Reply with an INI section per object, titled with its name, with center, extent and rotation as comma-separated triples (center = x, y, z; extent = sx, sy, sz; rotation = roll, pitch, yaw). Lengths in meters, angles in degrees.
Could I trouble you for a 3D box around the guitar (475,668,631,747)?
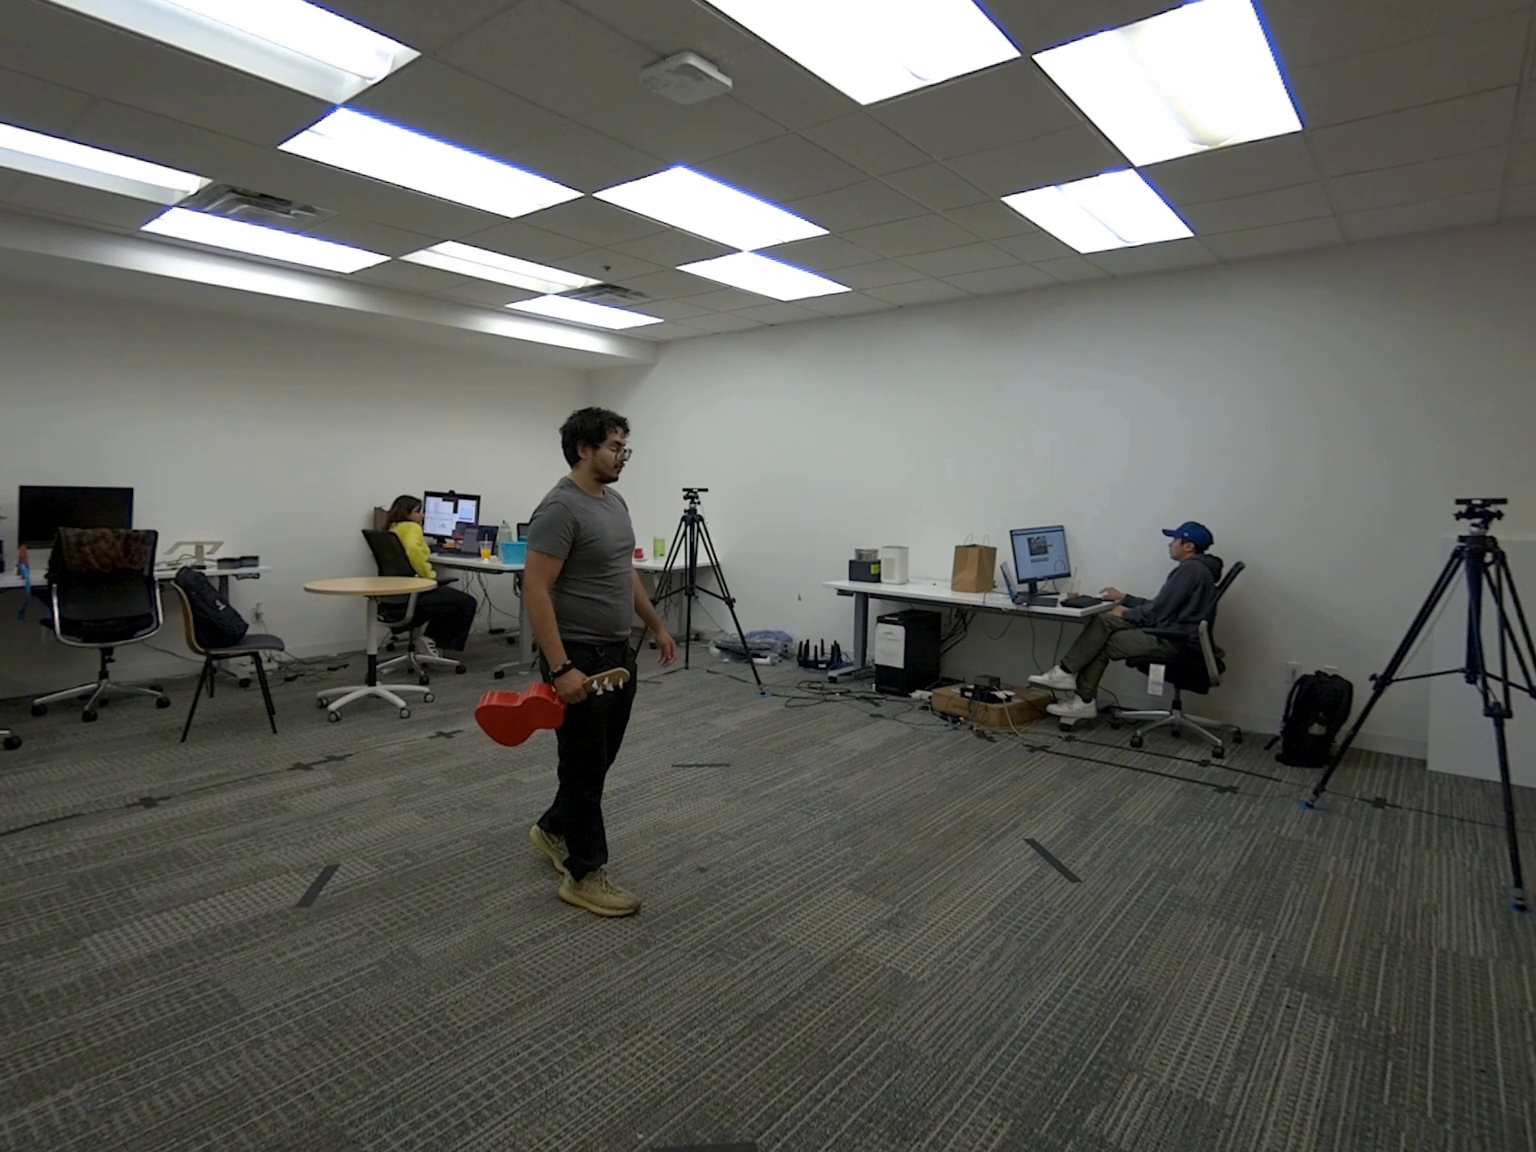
[guitar]
center = -0.687, 0.363, 2.595
extent = 0.503, 0.187, 0.072
rotation = -25, 29, 19
